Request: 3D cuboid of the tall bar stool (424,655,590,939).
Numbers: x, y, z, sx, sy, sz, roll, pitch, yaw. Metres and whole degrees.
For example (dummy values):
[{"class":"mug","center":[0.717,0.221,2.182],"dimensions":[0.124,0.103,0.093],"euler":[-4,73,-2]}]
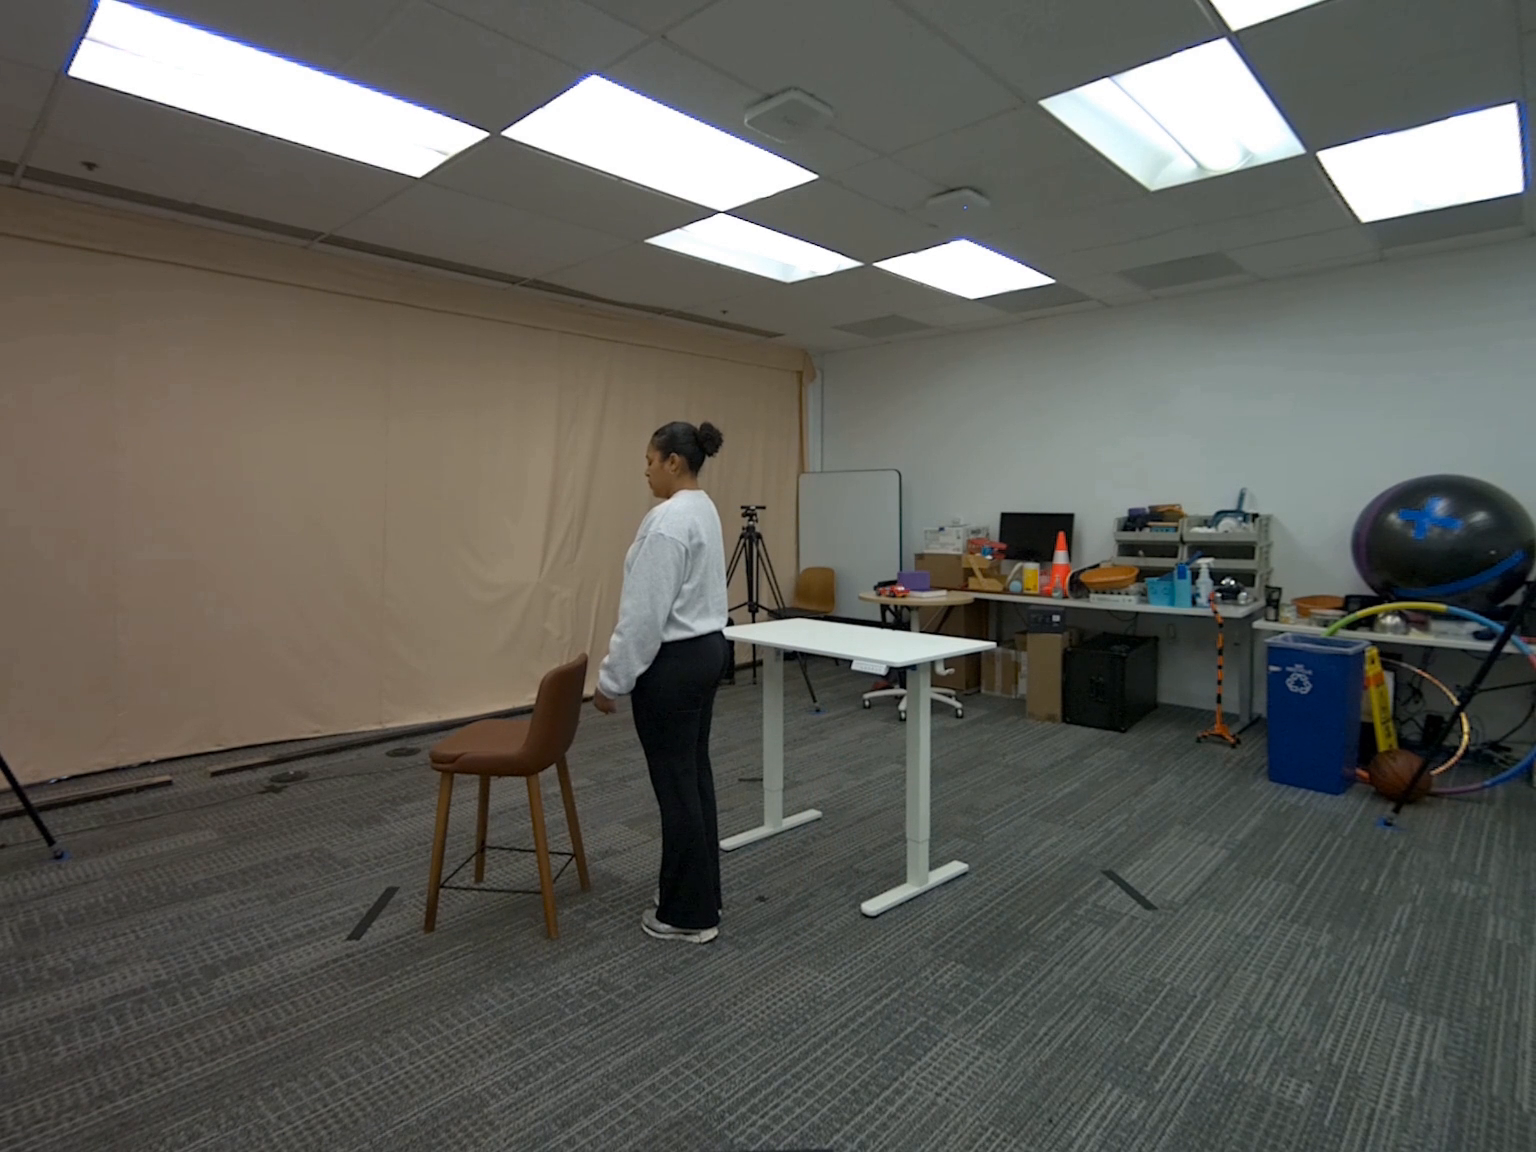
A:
[{"class":"tall bar stool","center":[-0.885,0.723,2.905],"dimensions":[0.472,0.888,0.453],"euler":[2,4,7]}]
